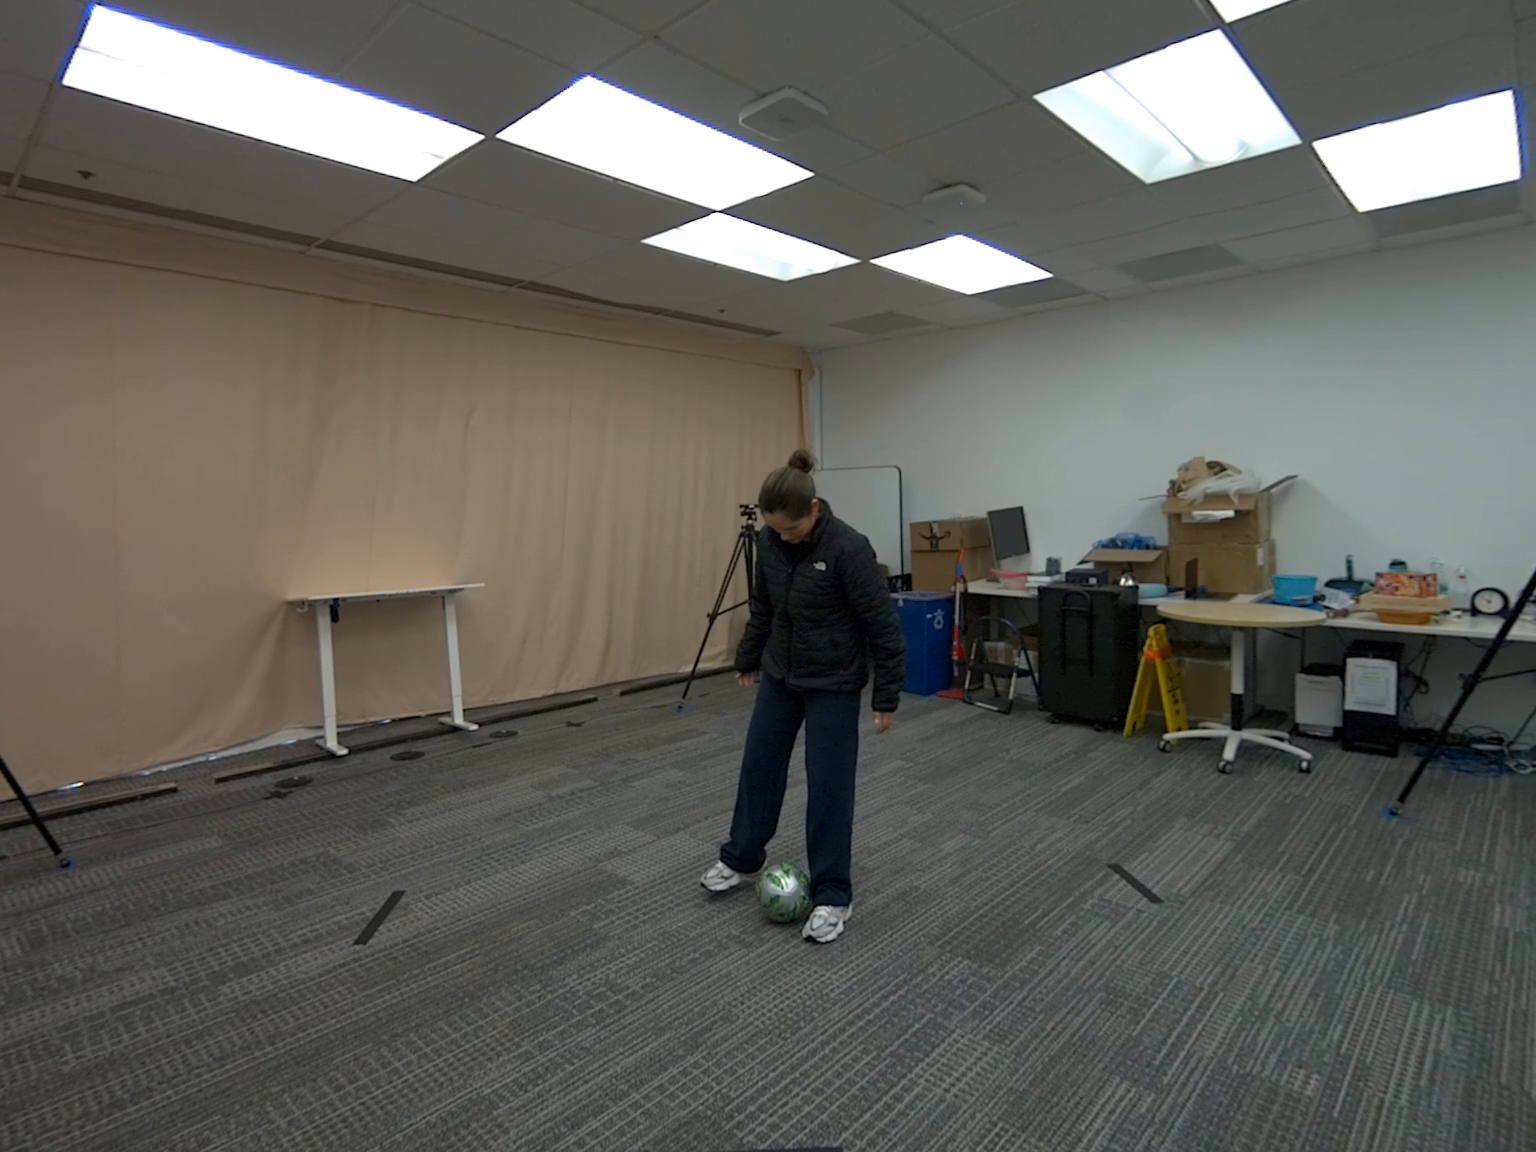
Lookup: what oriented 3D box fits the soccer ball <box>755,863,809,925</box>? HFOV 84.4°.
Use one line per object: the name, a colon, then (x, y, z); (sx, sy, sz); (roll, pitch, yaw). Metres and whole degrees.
soccer ball: (0.051, 1.062, 2.825); (0.187, 0.187, 0.188); (-1, 4, -2)
